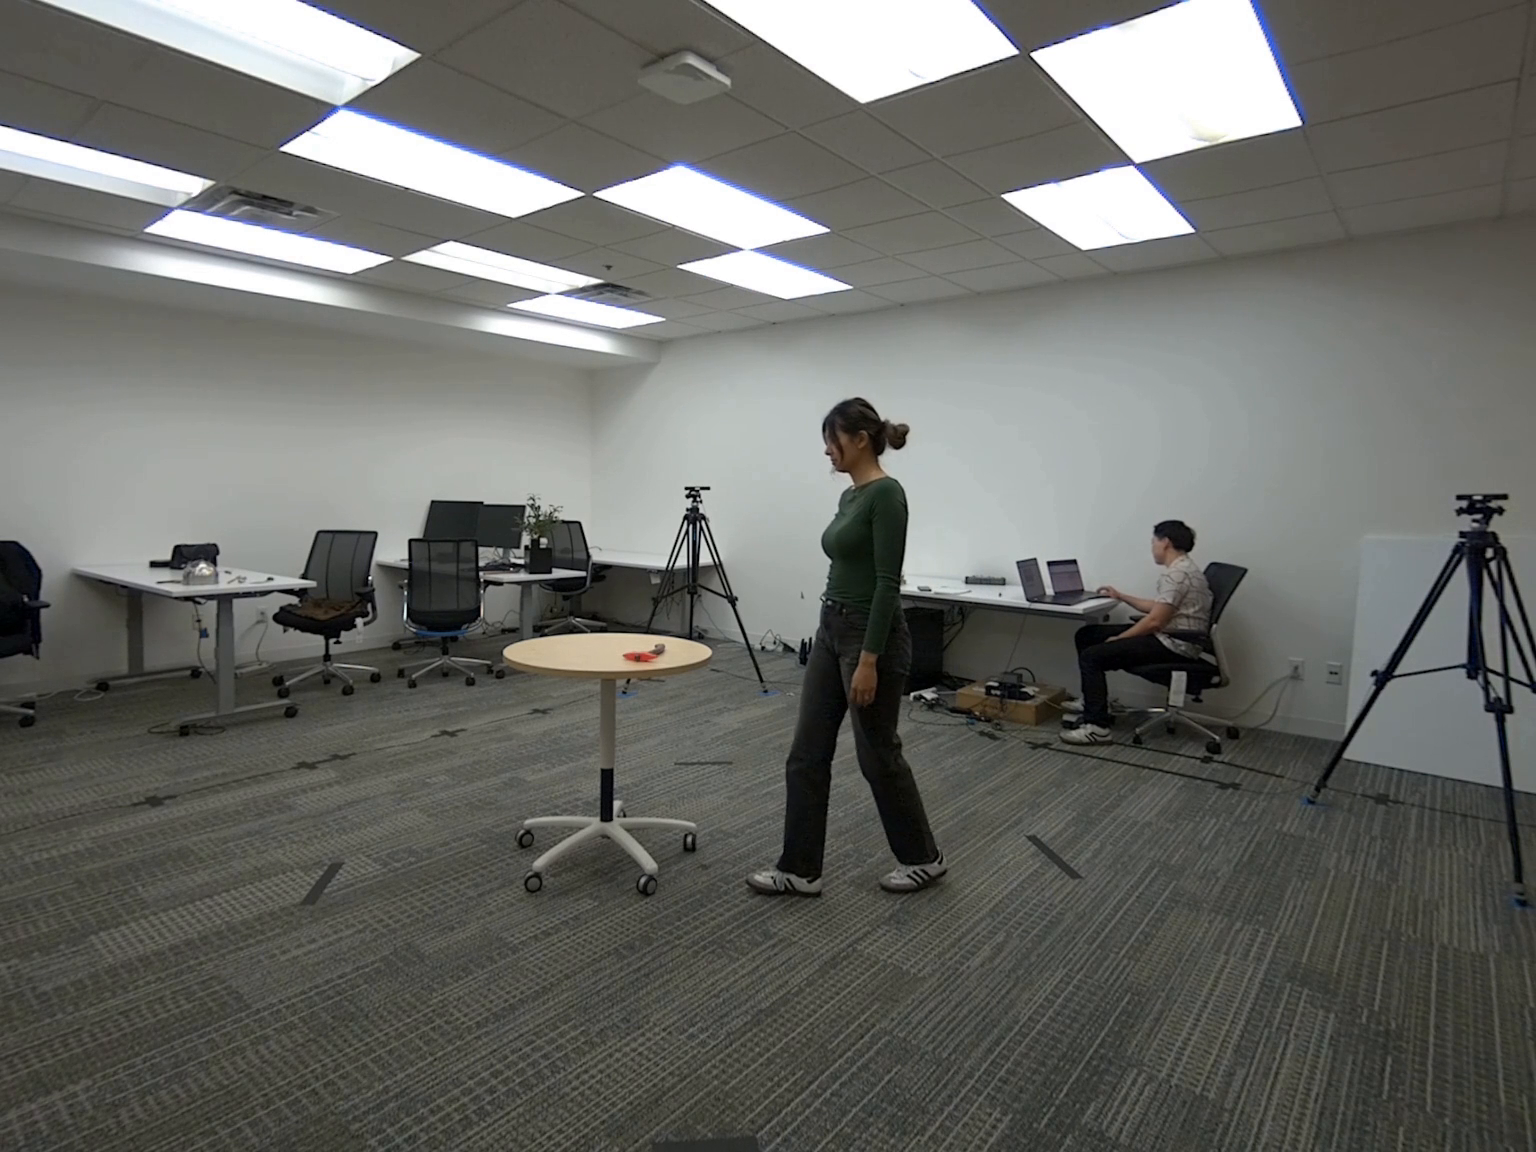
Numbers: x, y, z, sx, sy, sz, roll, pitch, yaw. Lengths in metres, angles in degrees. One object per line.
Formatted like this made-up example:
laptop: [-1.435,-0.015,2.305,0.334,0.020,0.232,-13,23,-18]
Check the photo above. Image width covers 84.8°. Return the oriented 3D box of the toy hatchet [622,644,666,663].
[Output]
toy hatchet: [-0.455,0.277,3.076,0.131,0.029,0.270,-3,3,-1]
